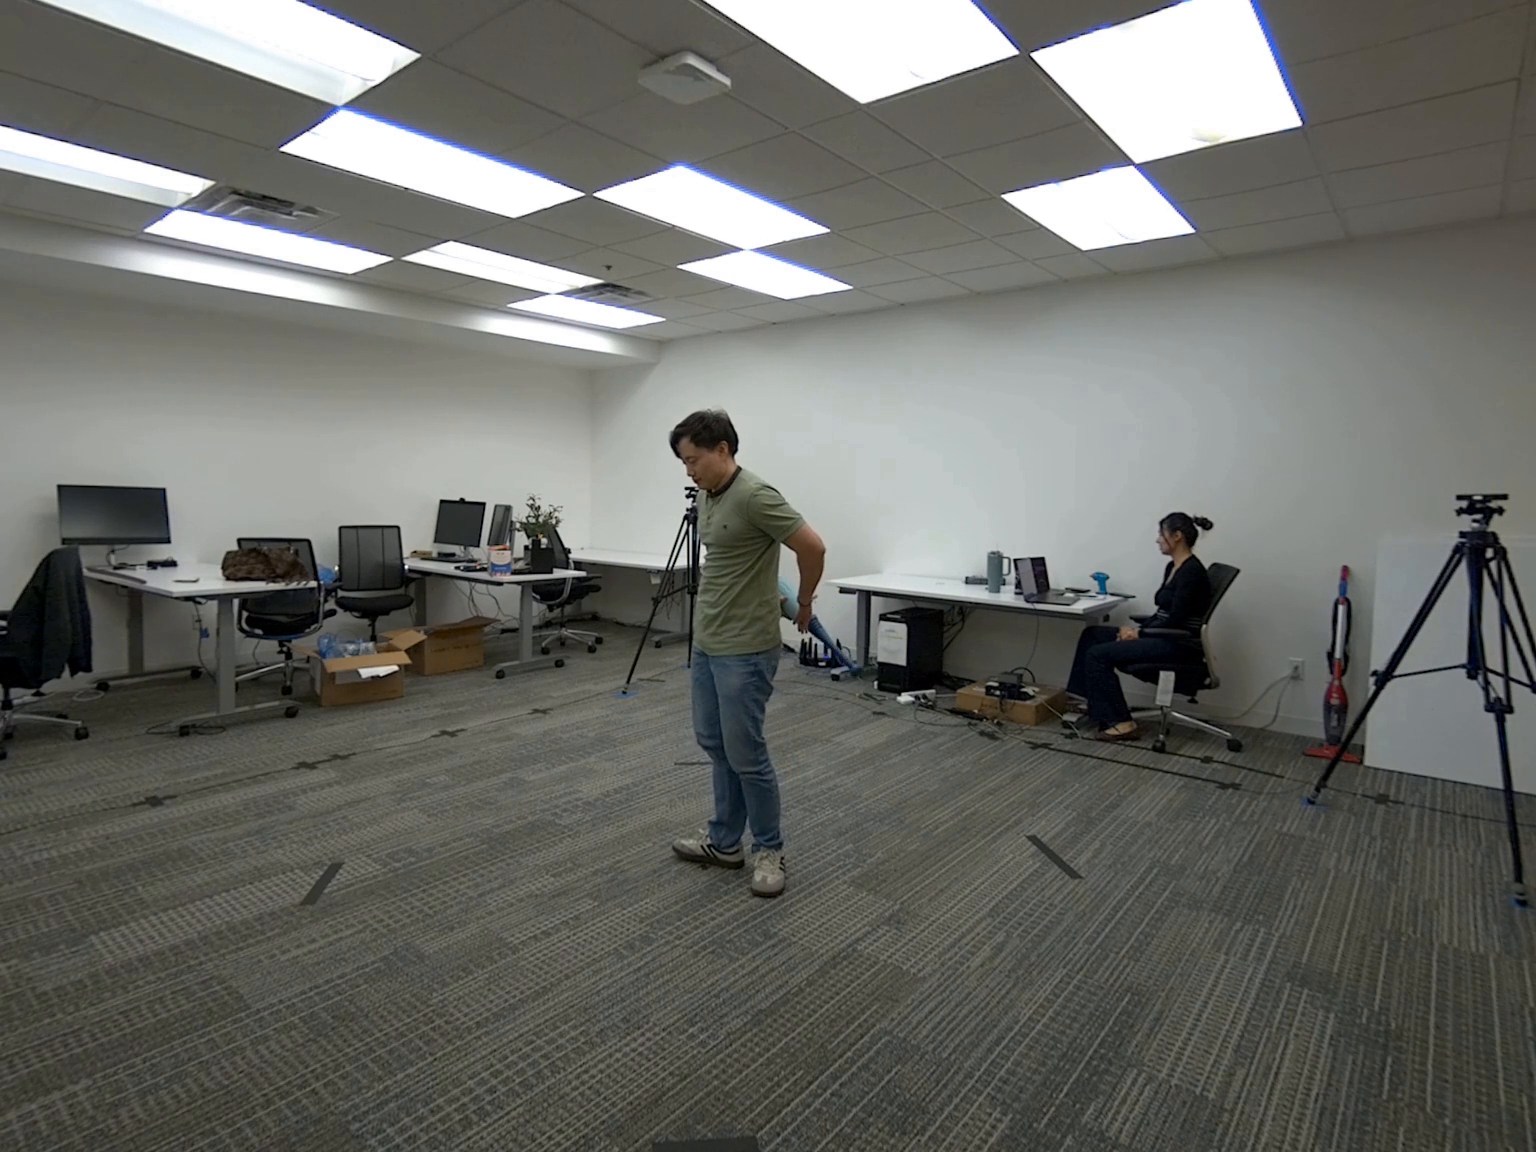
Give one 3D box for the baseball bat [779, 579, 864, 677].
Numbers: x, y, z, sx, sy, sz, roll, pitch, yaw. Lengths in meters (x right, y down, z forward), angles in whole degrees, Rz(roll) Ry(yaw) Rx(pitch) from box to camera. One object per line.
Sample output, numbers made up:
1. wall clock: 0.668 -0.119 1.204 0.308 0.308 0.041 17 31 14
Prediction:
1. baseball bat: 0.156 0.187 3.180 0.086 0.088 0.566 -2 37 -39
